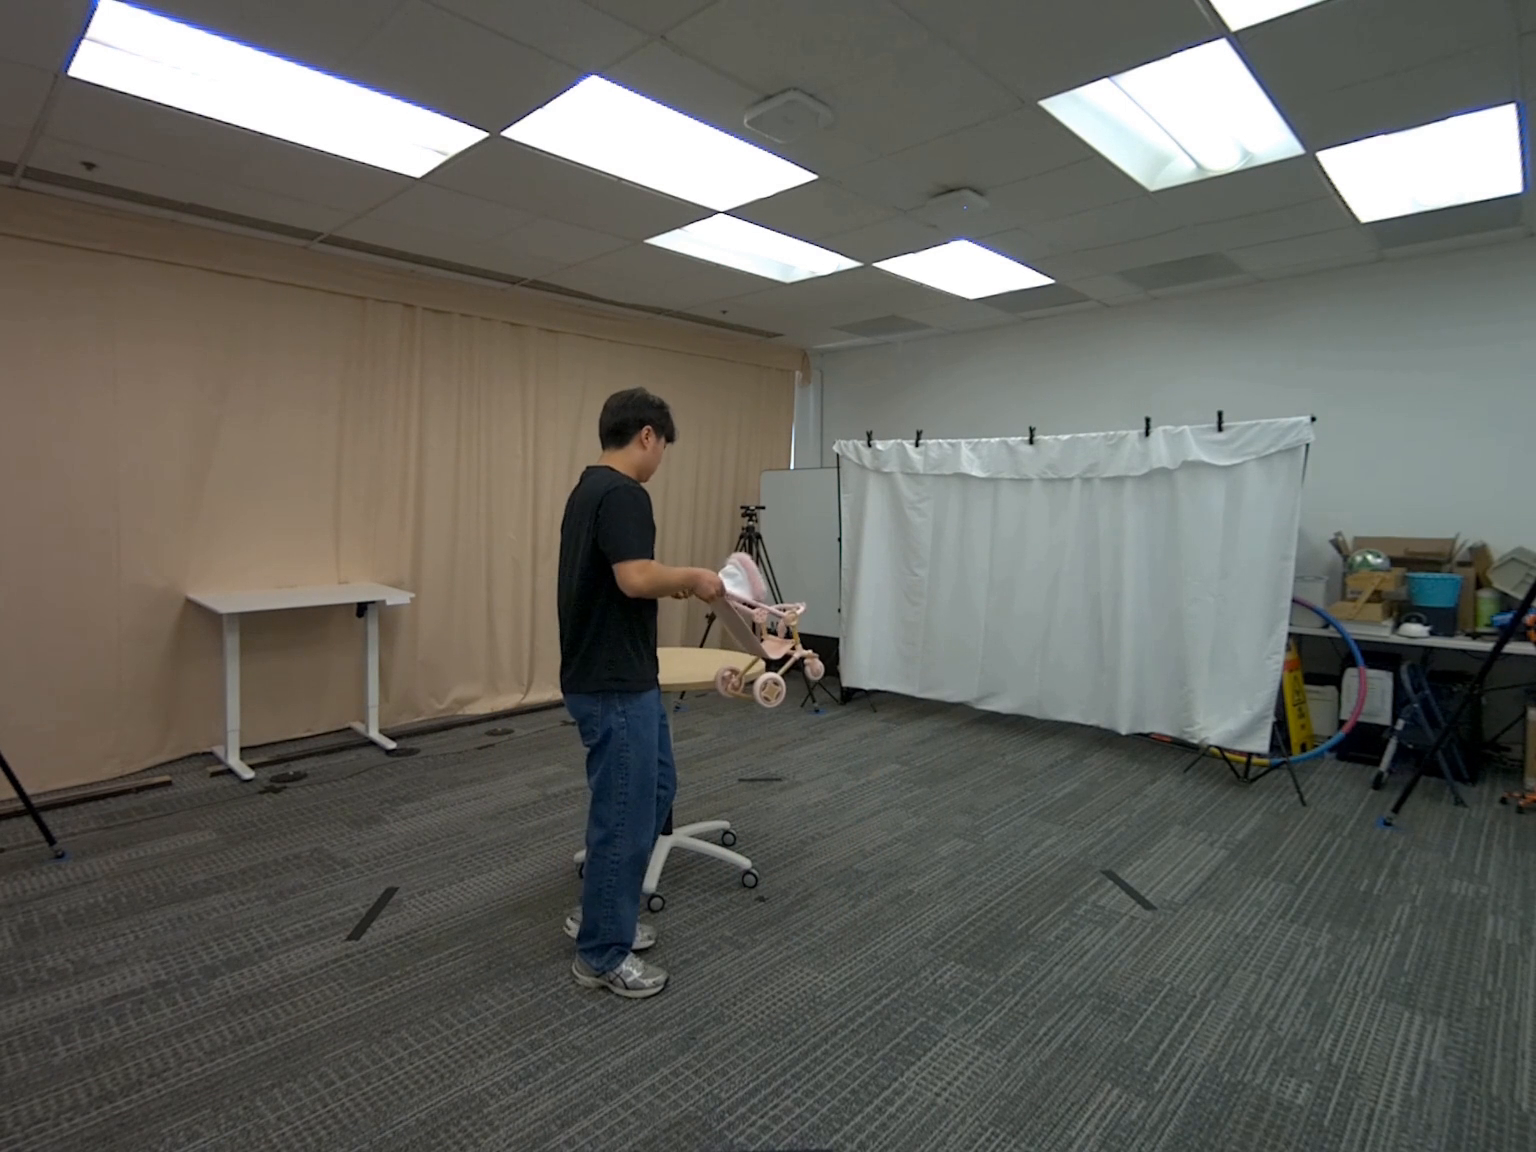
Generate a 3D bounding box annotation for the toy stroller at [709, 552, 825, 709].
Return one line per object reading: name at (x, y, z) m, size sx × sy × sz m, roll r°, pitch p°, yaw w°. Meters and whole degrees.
toy stroller at (-0.038, 0.159, 2.668) m, size 0.337 × 0.529 × 0.288 m, roll -29°, pitch 11°, yaw -21°
